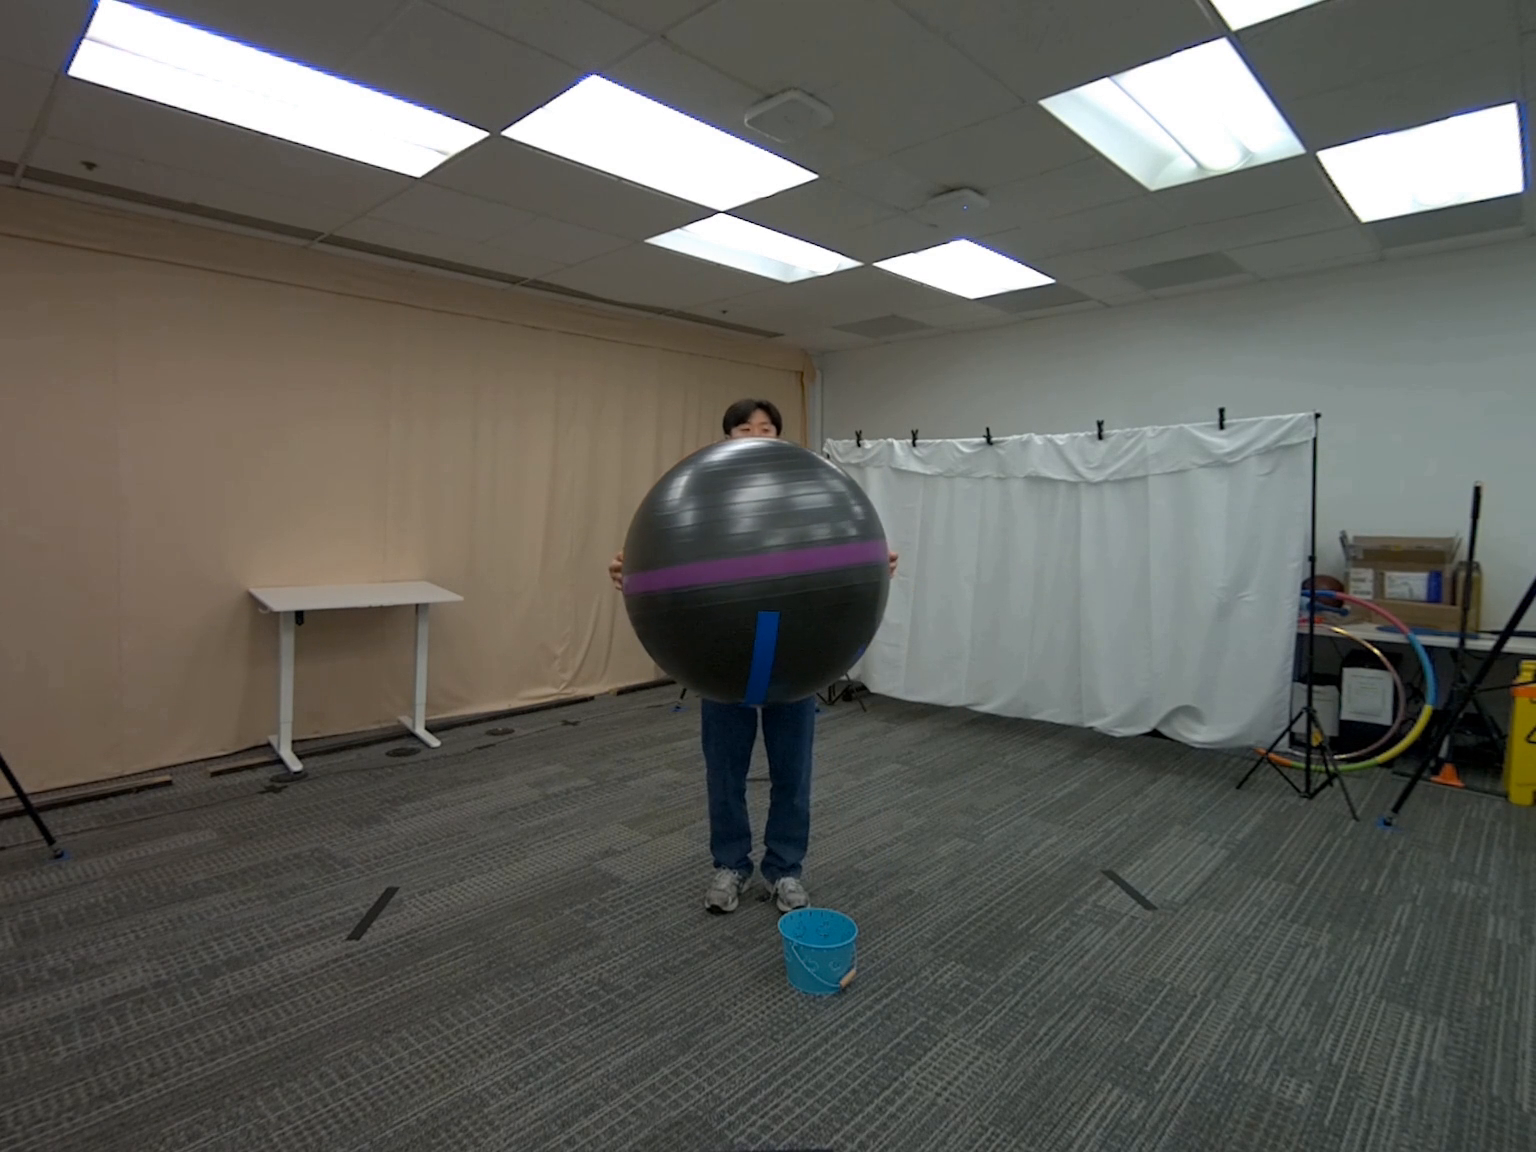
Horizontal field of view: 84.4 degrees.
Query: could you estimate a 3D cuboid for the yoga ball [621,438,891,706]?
[{"bbox_3d":[-0.029,-0.004,2.386,0.757,0.756,0.761,0,4,-2],"label":"yoga ball"}]
